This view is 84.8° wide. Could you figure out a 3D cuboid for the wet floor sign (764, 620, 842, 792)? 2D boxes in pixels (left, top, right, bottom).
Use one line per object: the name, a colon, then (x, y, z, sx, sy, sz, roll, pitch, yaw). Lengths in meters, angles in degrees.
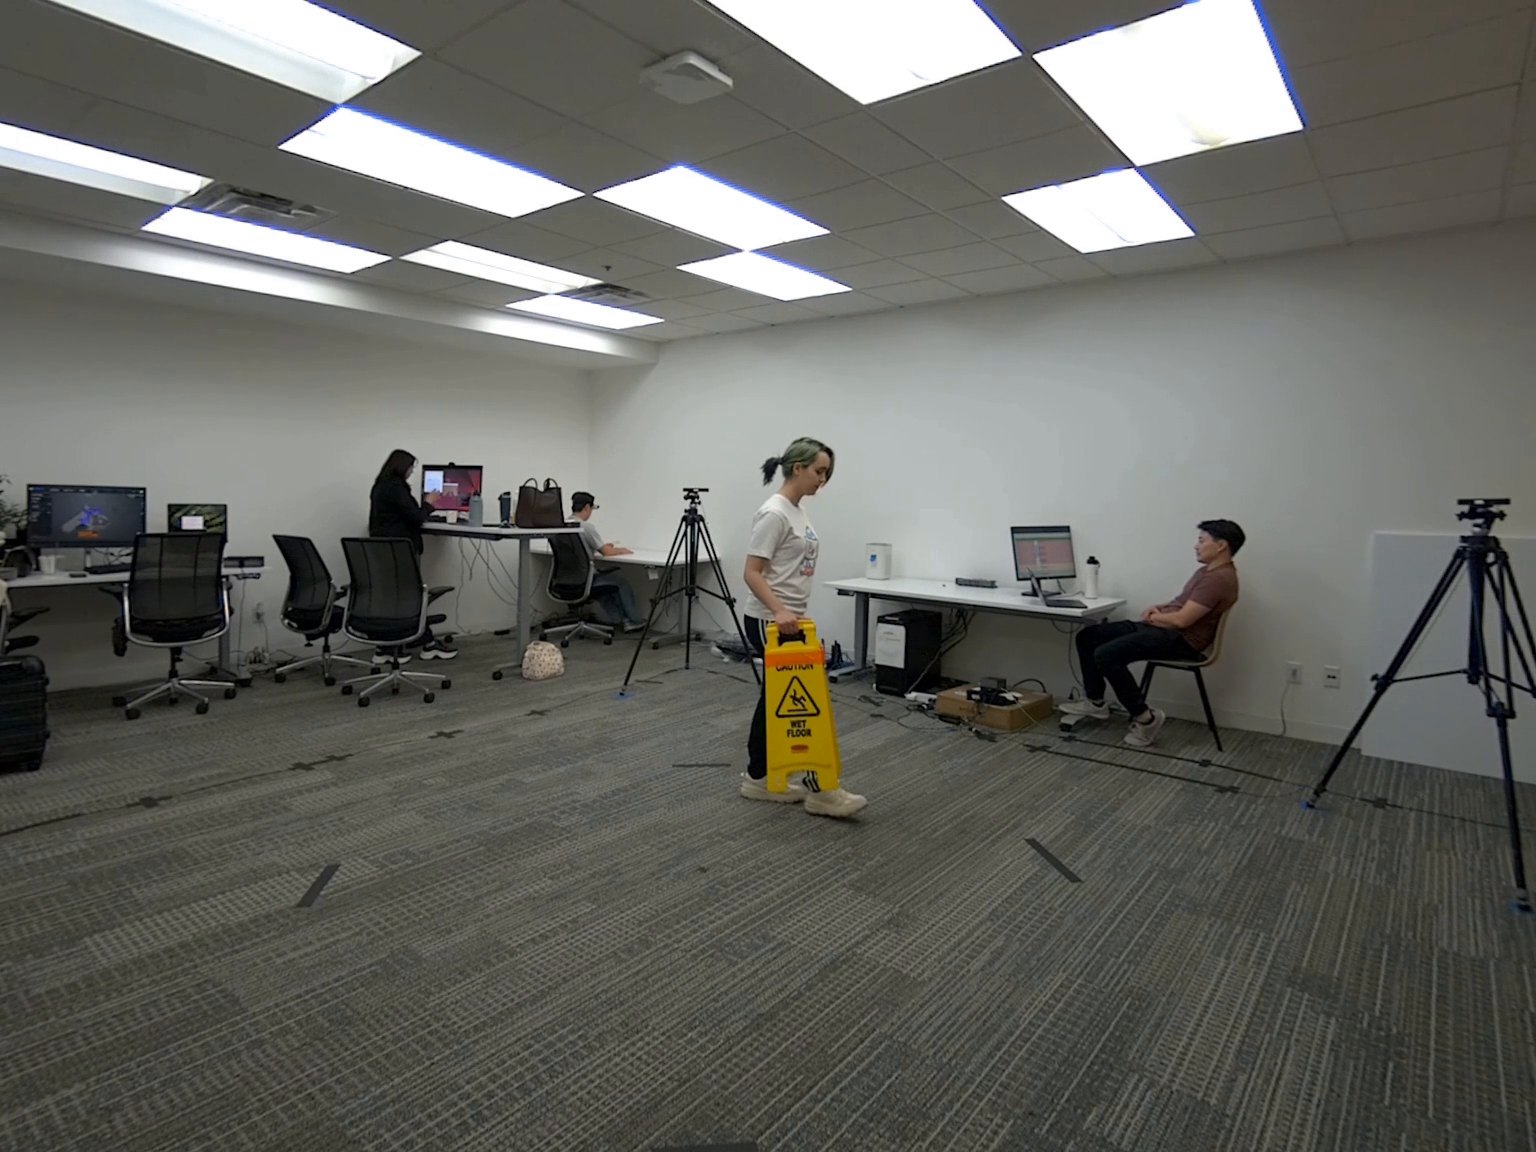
wet floor sign: (0.118, 0.507, 3.446, 0.285, 0.646, 0.287, -7, 0, 10)
